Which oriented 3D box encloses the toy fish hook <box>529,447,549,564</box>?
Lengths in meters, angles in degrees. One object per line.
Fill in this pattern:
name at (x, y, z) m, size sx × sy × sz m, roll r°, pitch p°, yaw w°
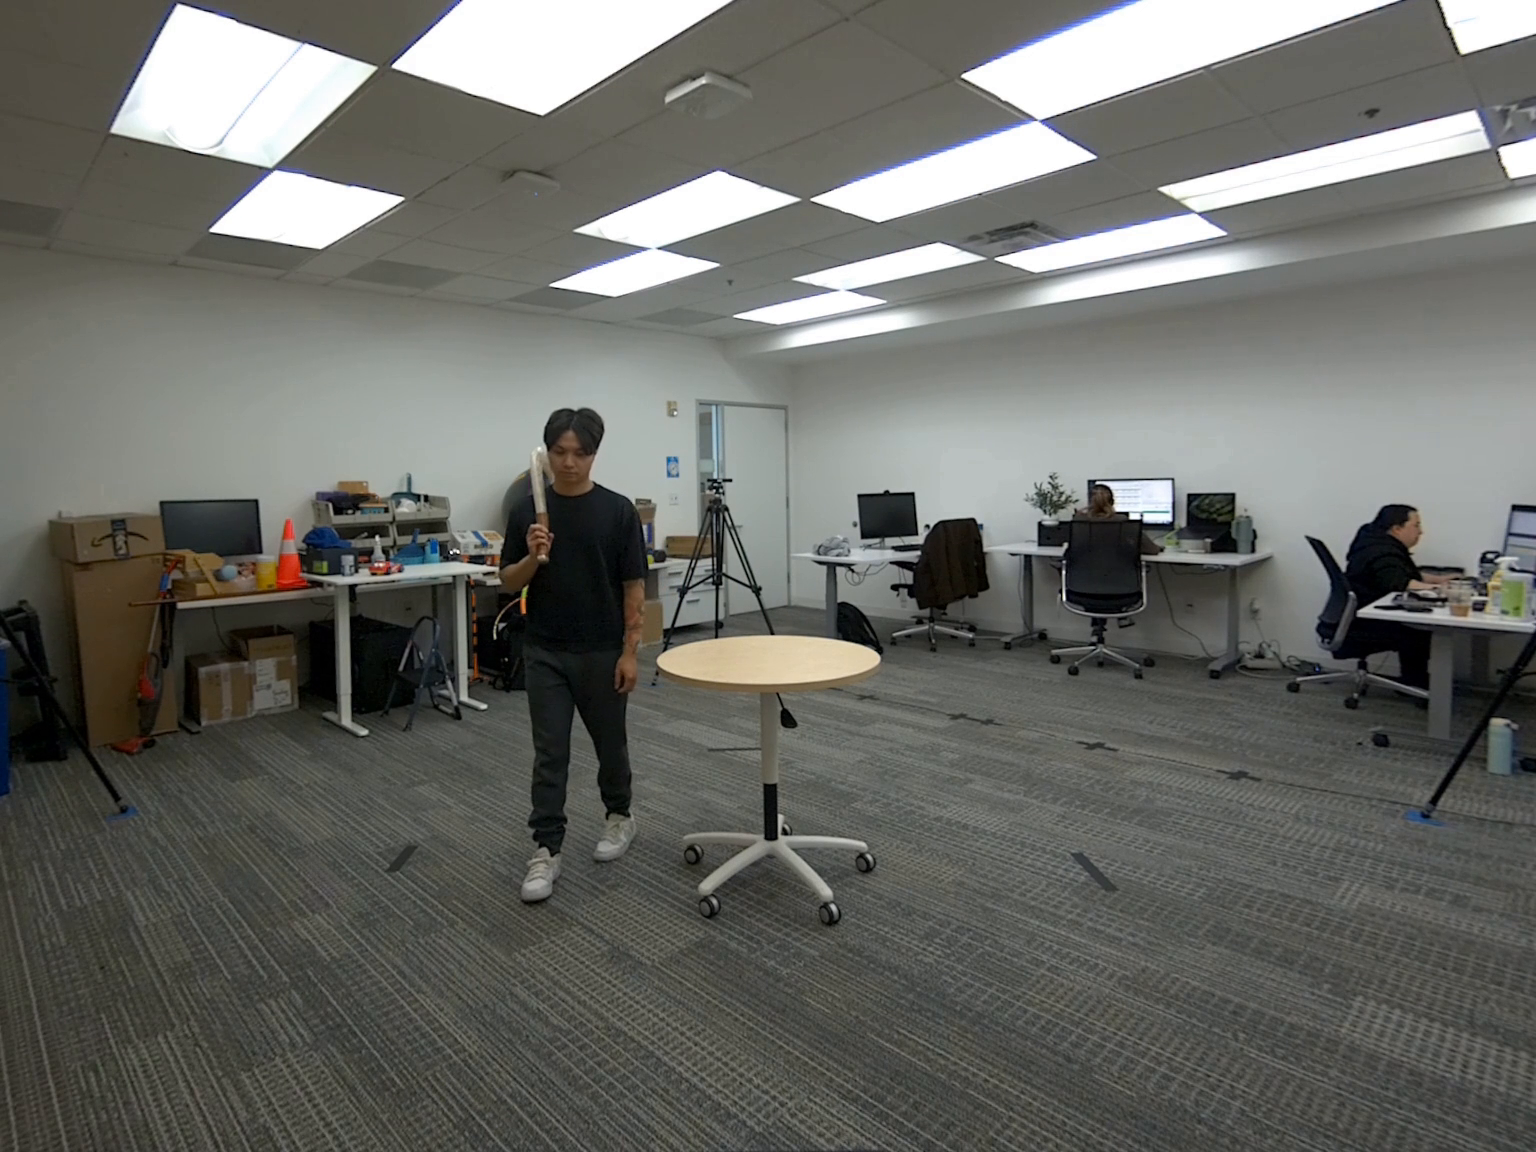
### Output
toy fish hook at (-0.783, -0.236, 3.037) m, size 0.048 × 0.521 × 0.217 m, roll -14°, pitch -33°, yaw 6°
